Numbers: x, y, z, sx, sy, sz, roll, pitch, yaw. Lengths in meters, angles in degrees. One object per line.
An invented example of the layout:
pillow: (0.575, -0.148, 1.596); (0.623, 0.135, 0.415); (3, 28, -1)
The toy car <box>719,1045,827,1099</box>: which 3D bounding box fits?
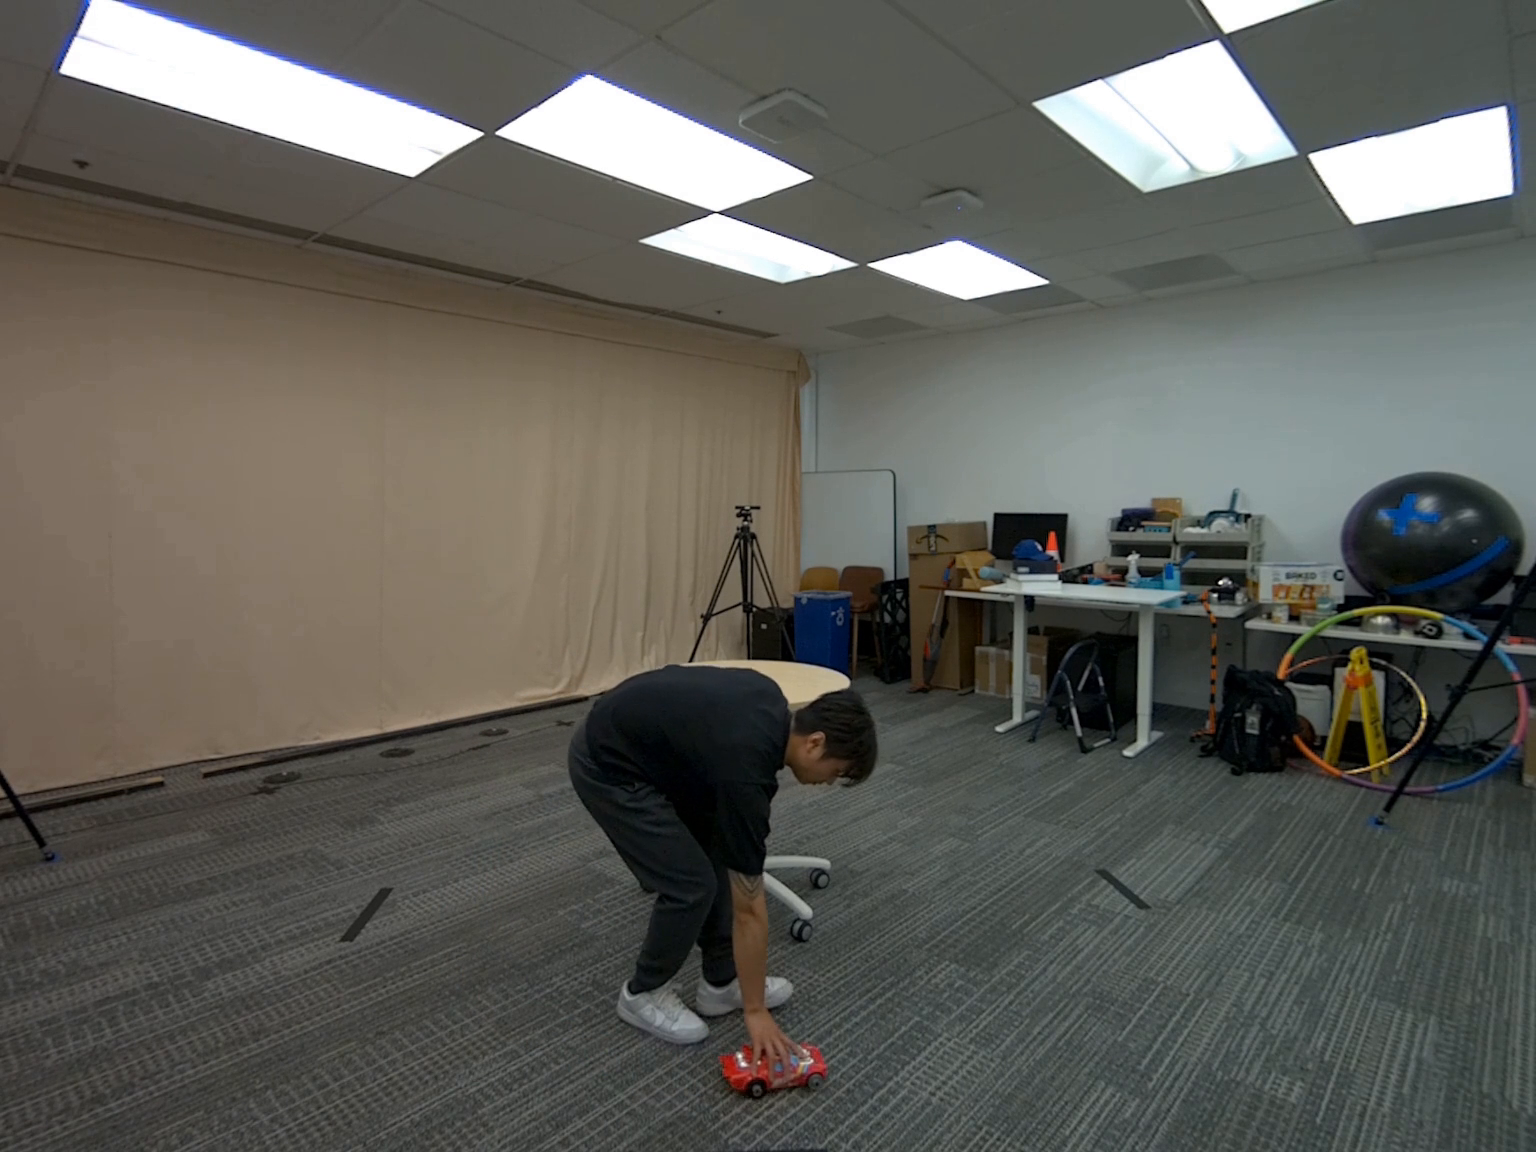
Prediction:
toy car: (0.007, 1.193, 2.036); (0.252, 0.083, 0.131); (12, 1, -9)
